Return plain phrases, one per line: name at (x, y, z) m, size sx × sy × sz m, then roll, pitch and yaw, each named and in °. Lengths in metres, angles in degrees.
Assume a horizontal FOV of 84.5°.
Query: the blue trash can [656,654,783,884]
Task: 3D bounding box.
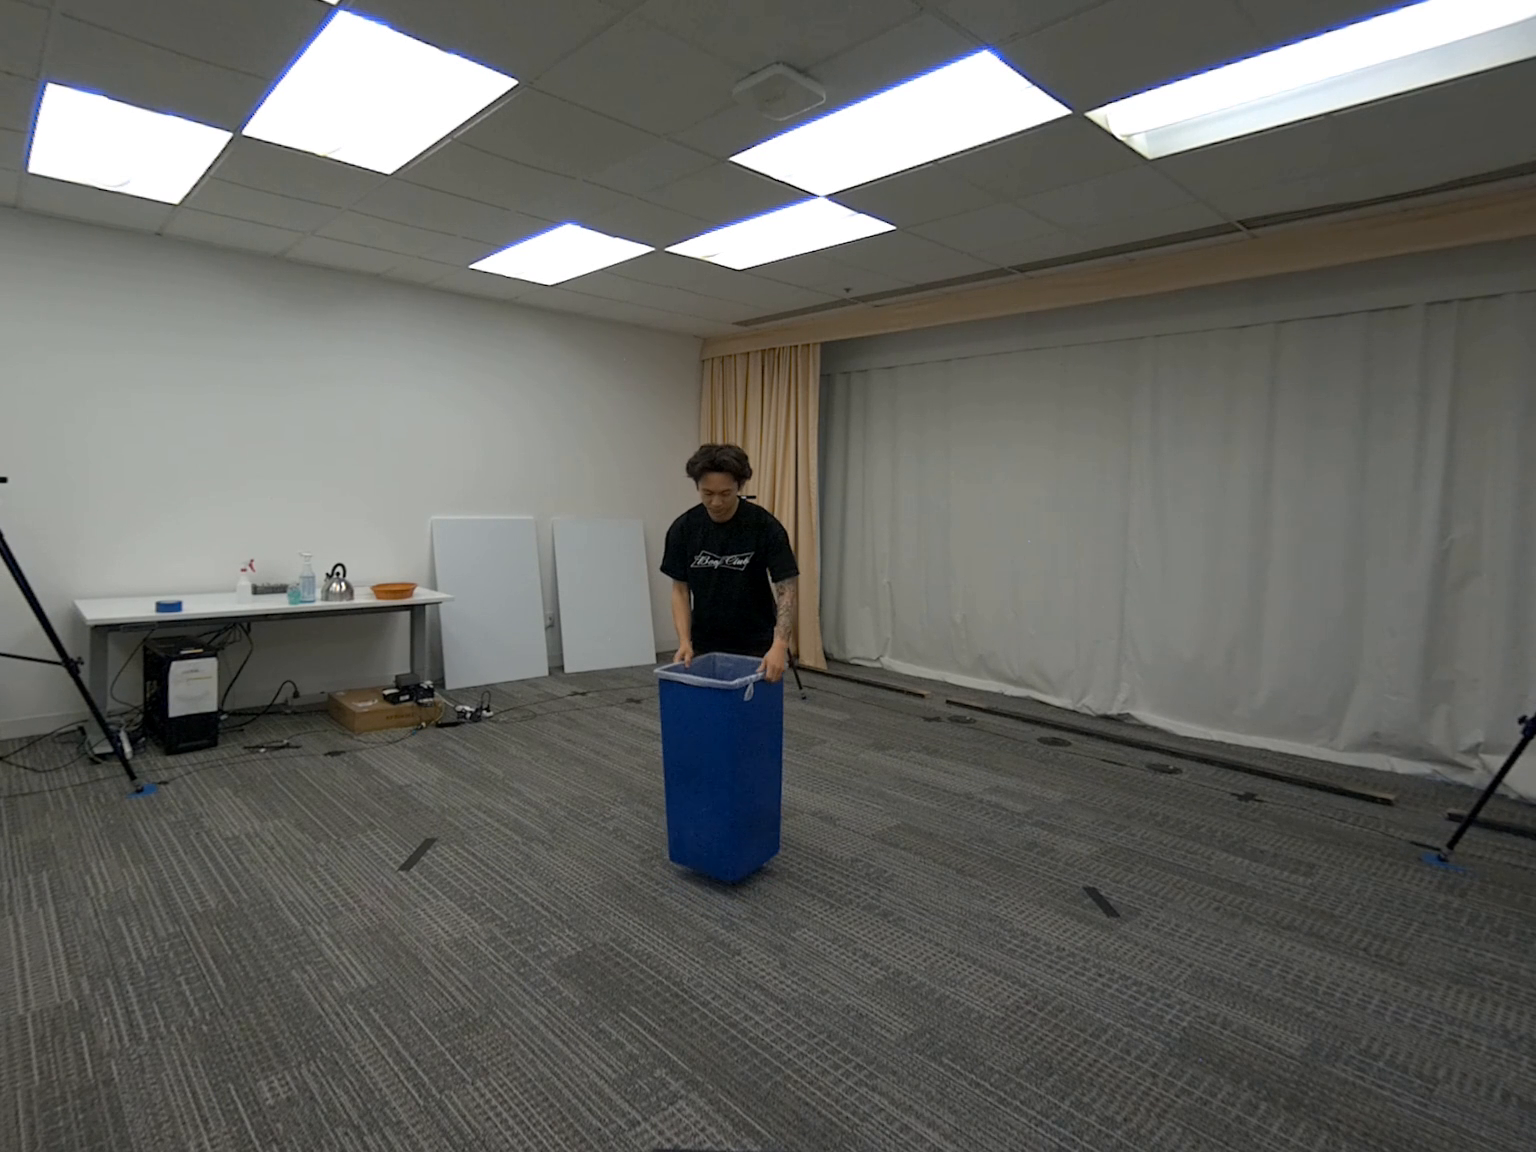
blue trash can at (-0.176, 0.670, 3.075) m, size 0.383 × 0.711 × 0.371 m, roll 3°, pitch 6°, yaw 34°
